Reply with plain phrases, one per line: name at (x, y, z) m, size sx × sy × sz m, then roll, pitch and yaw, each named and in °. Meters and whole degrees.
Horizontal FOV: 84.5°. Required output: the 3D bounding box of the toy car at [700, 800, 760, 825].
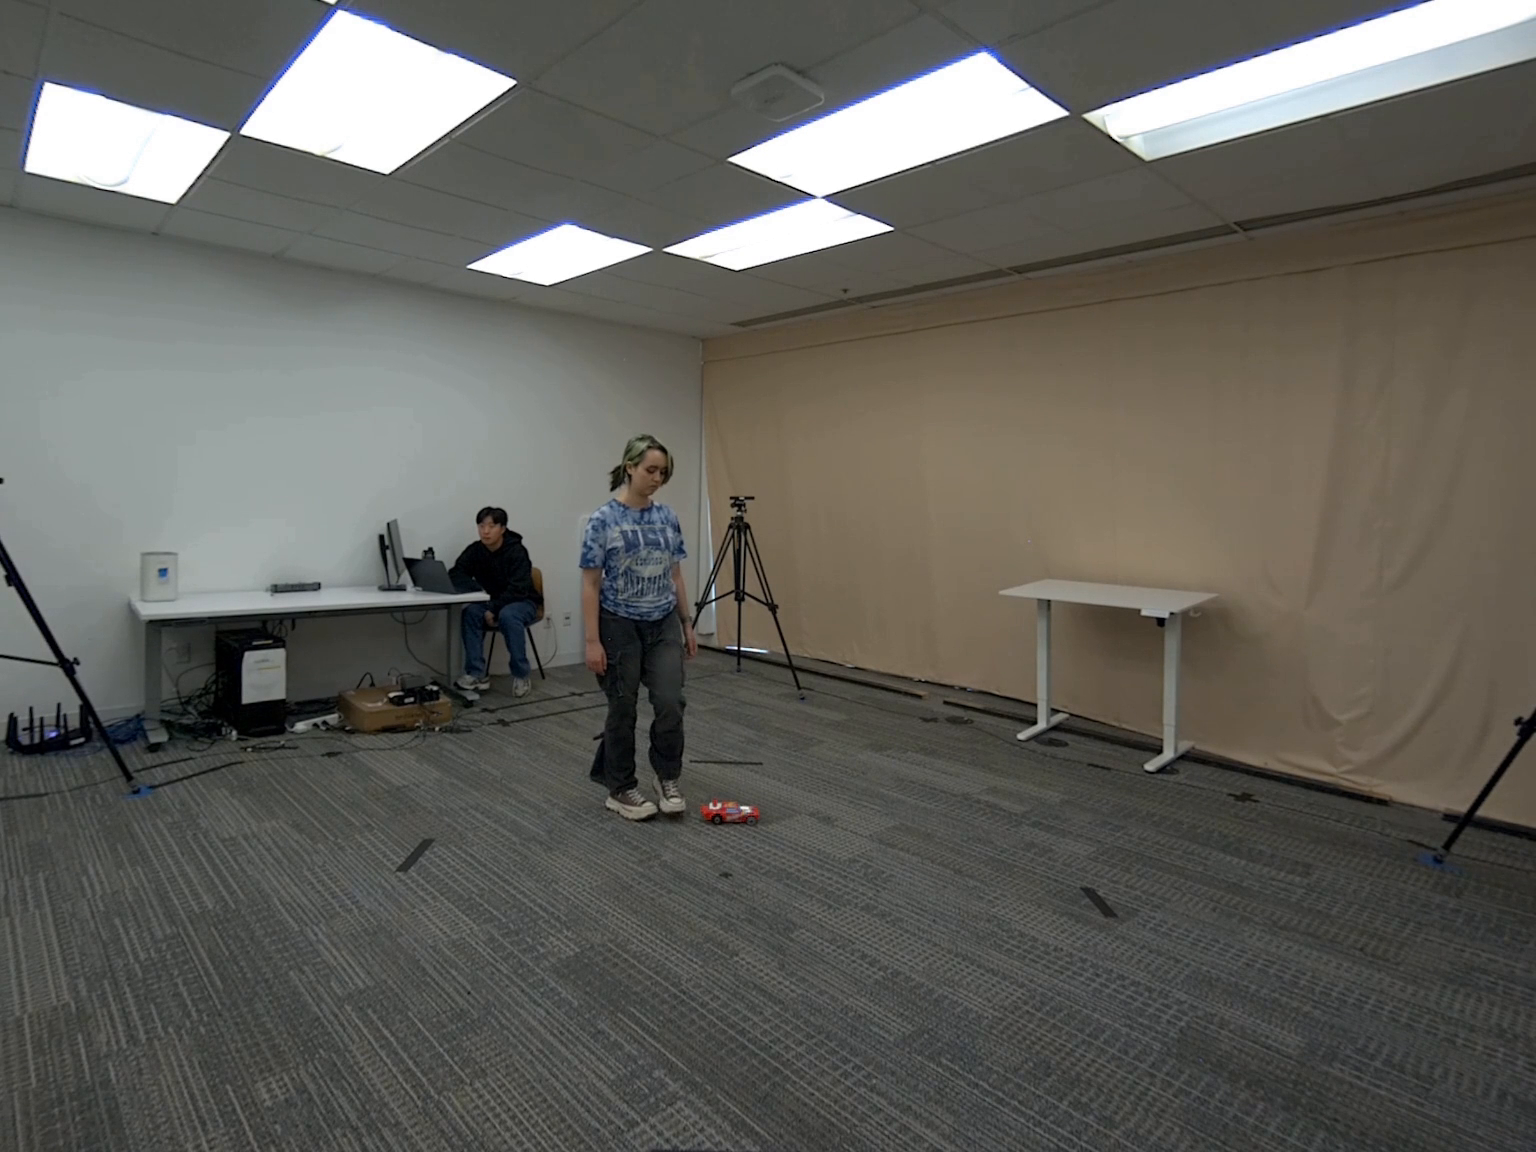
toy car at (-0.179, 1.026, 3.636) m, size 0.254 × 0.083 × 0.131 m, roll 13°, pitch 4°, yaw -3°
